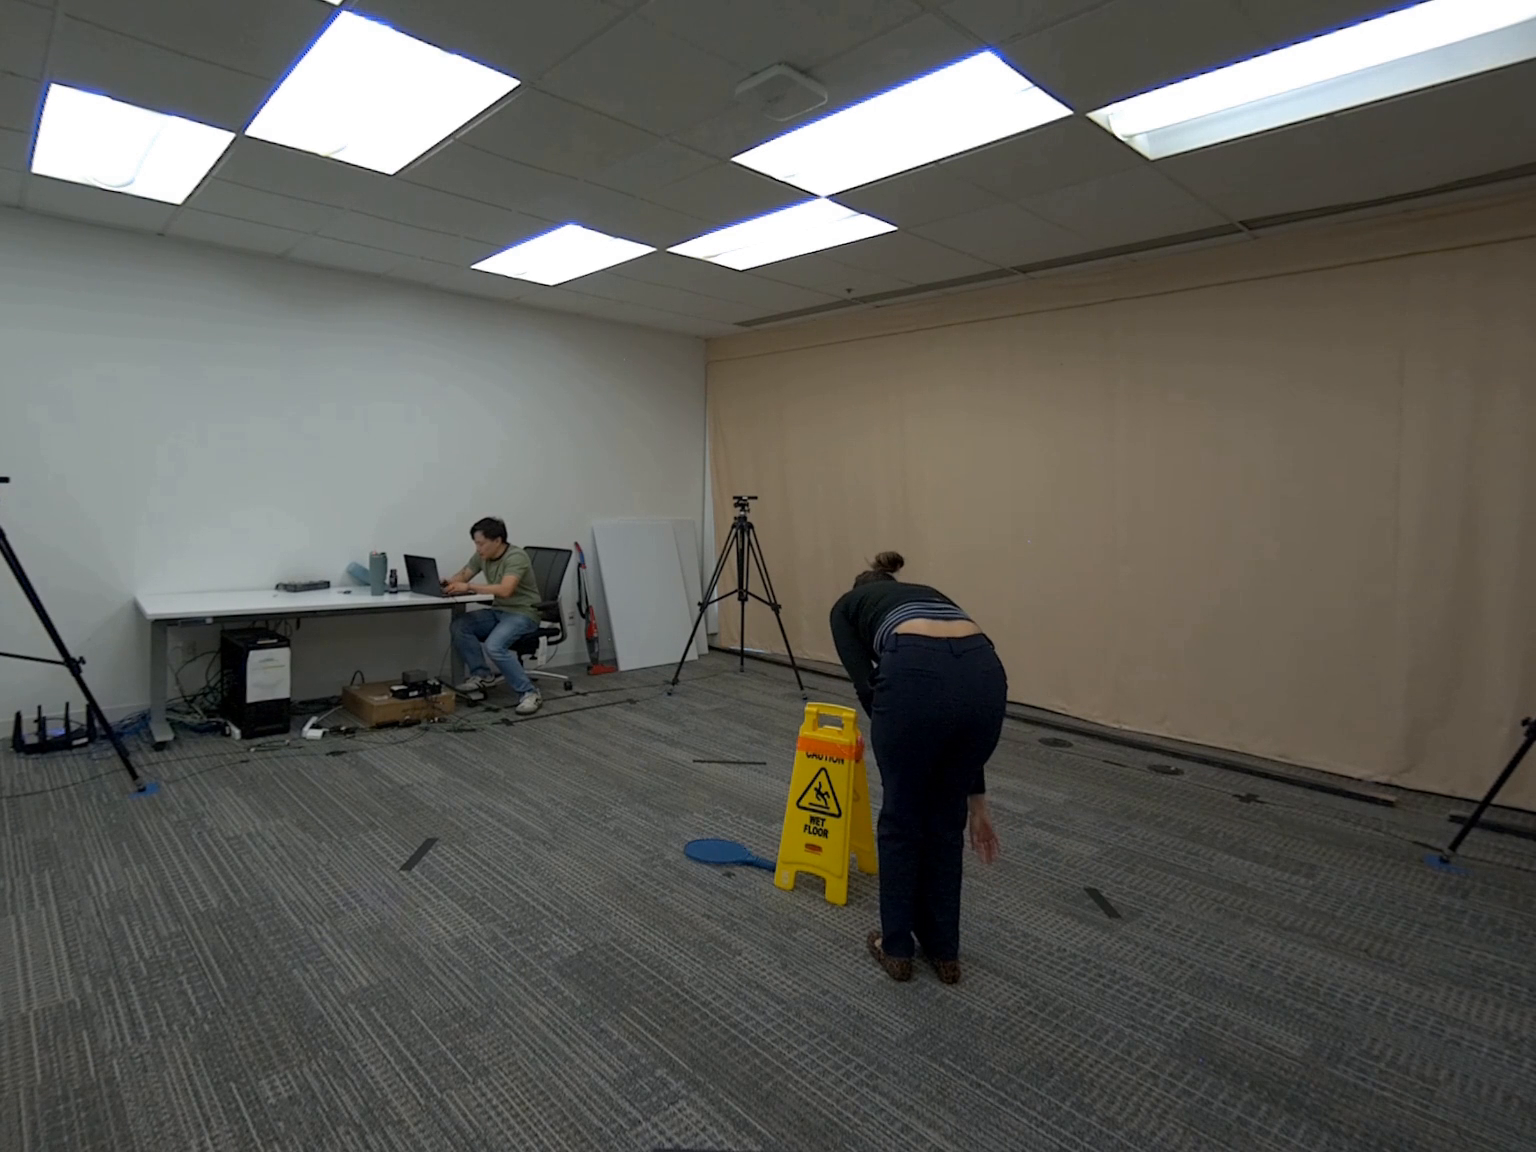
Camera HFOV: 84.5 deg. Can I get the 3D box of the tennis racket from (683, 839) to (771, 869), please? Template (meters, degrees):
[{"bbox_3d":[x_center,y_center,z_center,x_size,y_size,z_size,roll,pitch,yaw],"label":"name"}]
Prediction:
[{"bbox_3d":[-0.125,1.071,3.230,0.442,0.032,0.209,3,5,31],"label":"tennis racket"}]
